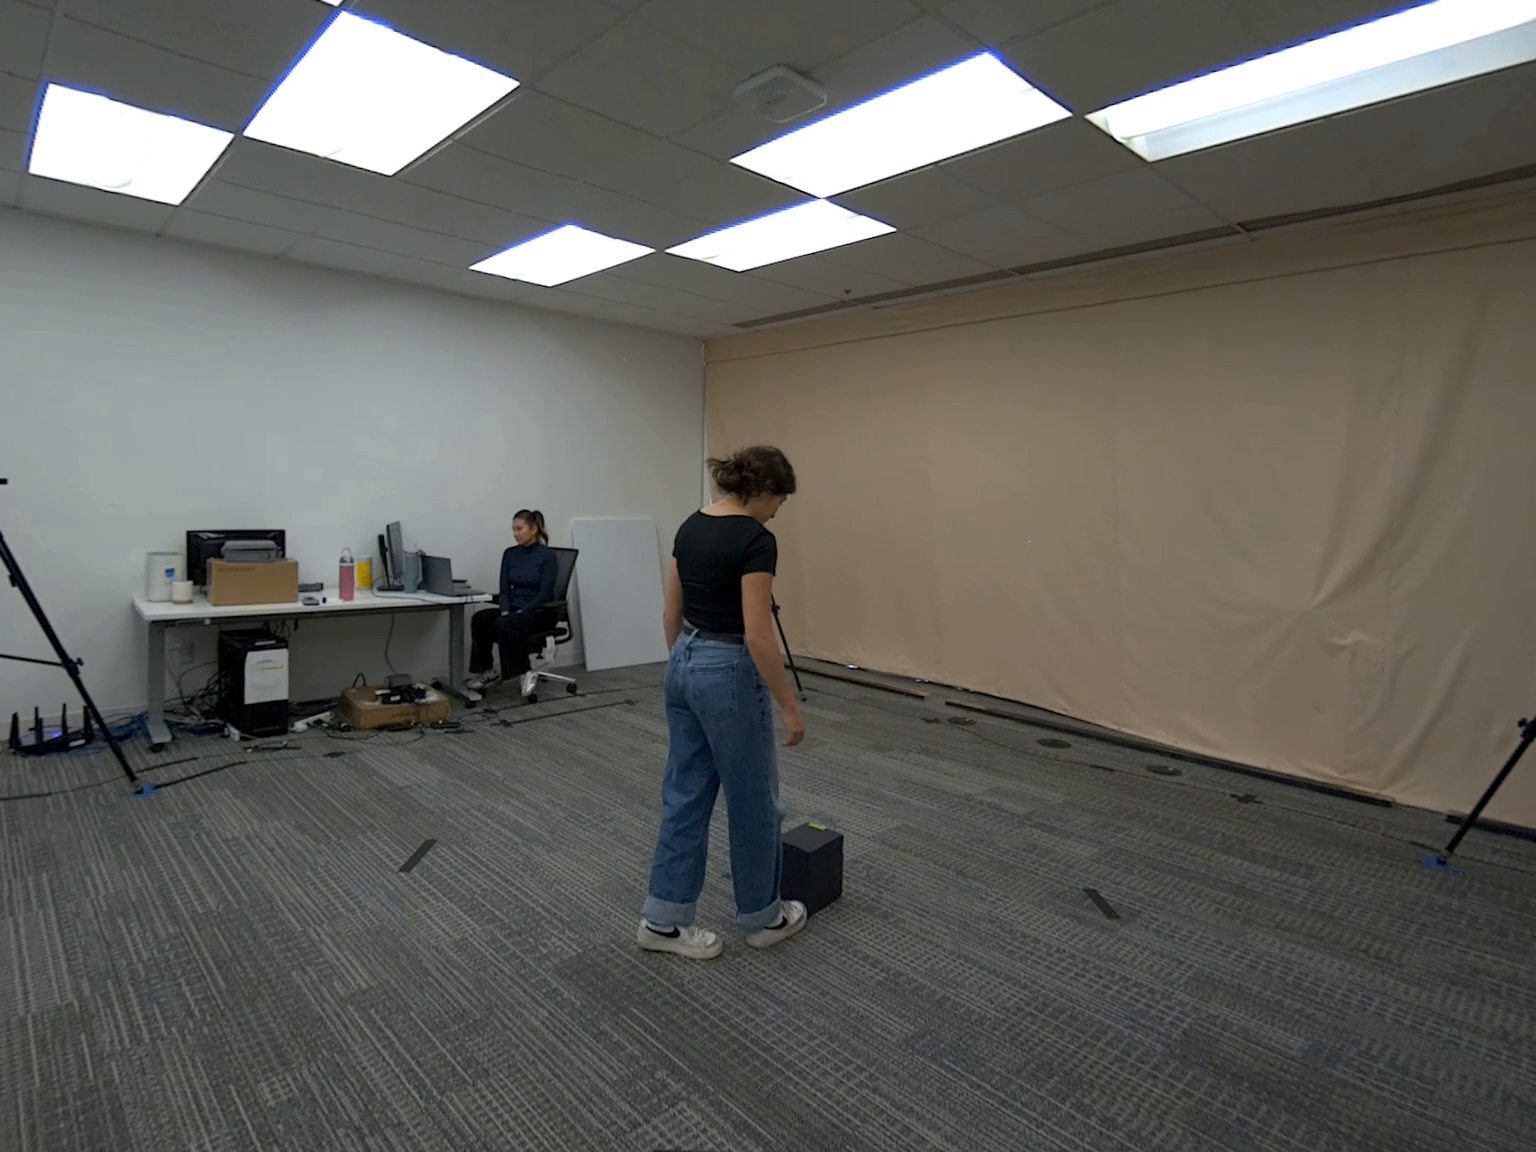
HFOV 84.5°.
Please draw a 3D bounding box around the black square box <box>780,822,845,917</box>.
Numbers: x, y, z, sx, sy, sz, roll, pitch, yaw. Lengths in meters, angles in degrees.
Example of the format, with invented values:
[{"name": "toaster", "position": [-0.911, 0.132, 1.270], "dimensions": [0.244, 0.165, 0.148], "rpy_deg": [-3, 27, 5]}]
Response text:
[{"name": "black square box", "position": [0.130, 1.008, 2.909], "dimensions": [0.160, 0.227, 0.212], "rpy_deg": [4, 5, 38]}]
